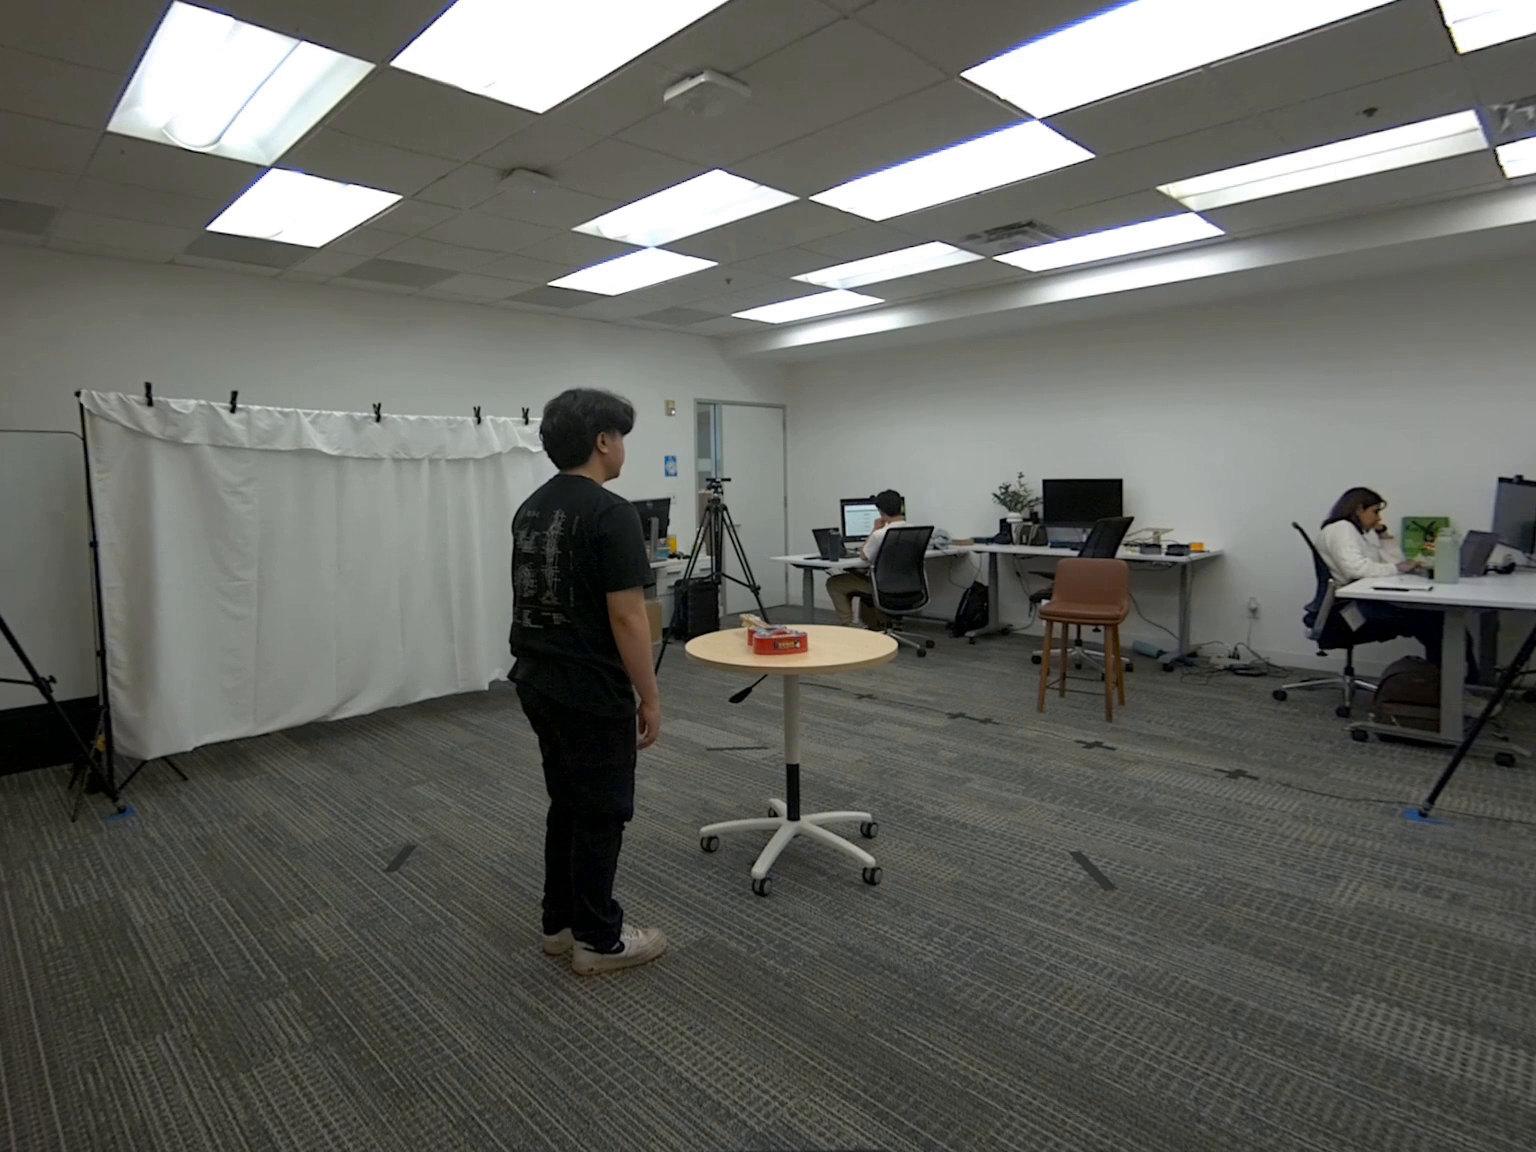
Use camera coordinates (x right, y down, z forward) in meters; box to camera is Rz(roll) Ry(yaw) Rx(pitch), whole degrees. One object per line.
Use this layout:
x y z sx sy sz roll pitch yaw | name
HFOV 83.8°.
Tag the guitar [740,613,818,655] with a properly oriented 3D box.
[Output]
0.027 0.204 3.123 0.191 0.070 0.503 1 5 -9 | guitar
